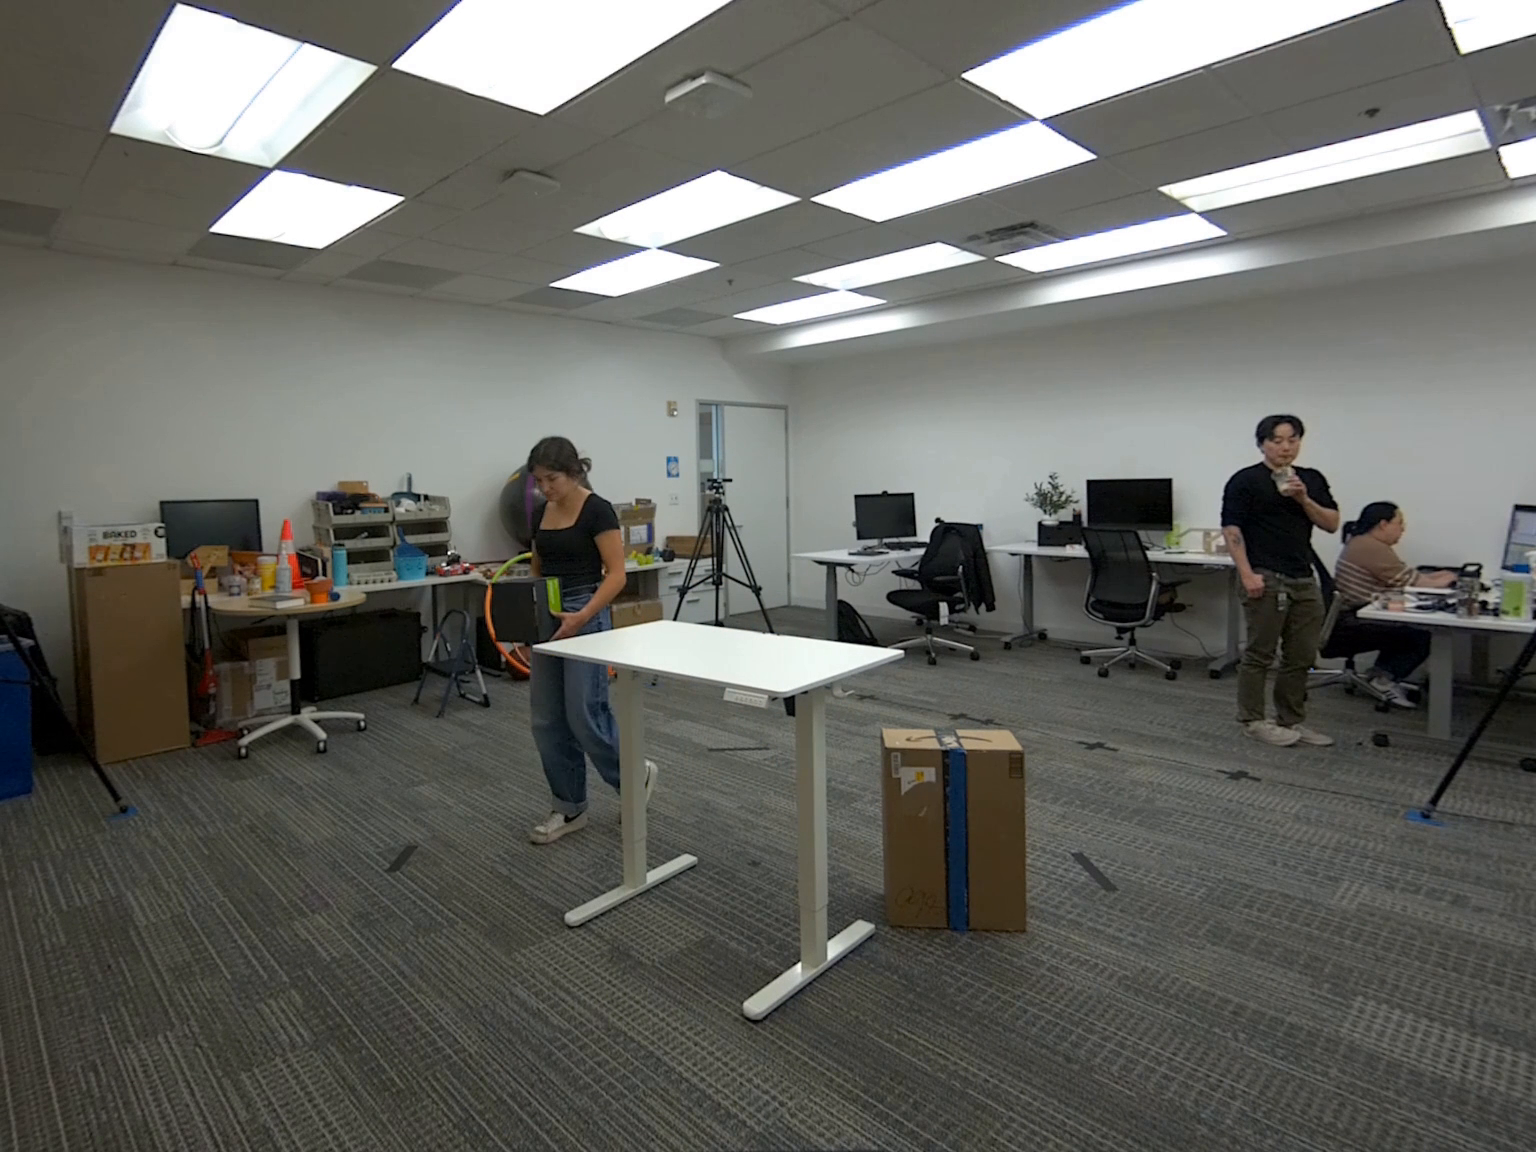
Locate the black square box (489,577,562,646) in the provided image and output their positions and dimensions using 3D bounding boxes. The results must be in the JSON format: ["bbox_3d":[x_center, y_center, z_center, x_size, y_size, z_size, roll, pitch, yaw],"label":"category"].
[{"bbox_3d":[-0.893,0.125,3.193,0.222,0.227,0.153,-2,3,27],"label":"black square box"}]
